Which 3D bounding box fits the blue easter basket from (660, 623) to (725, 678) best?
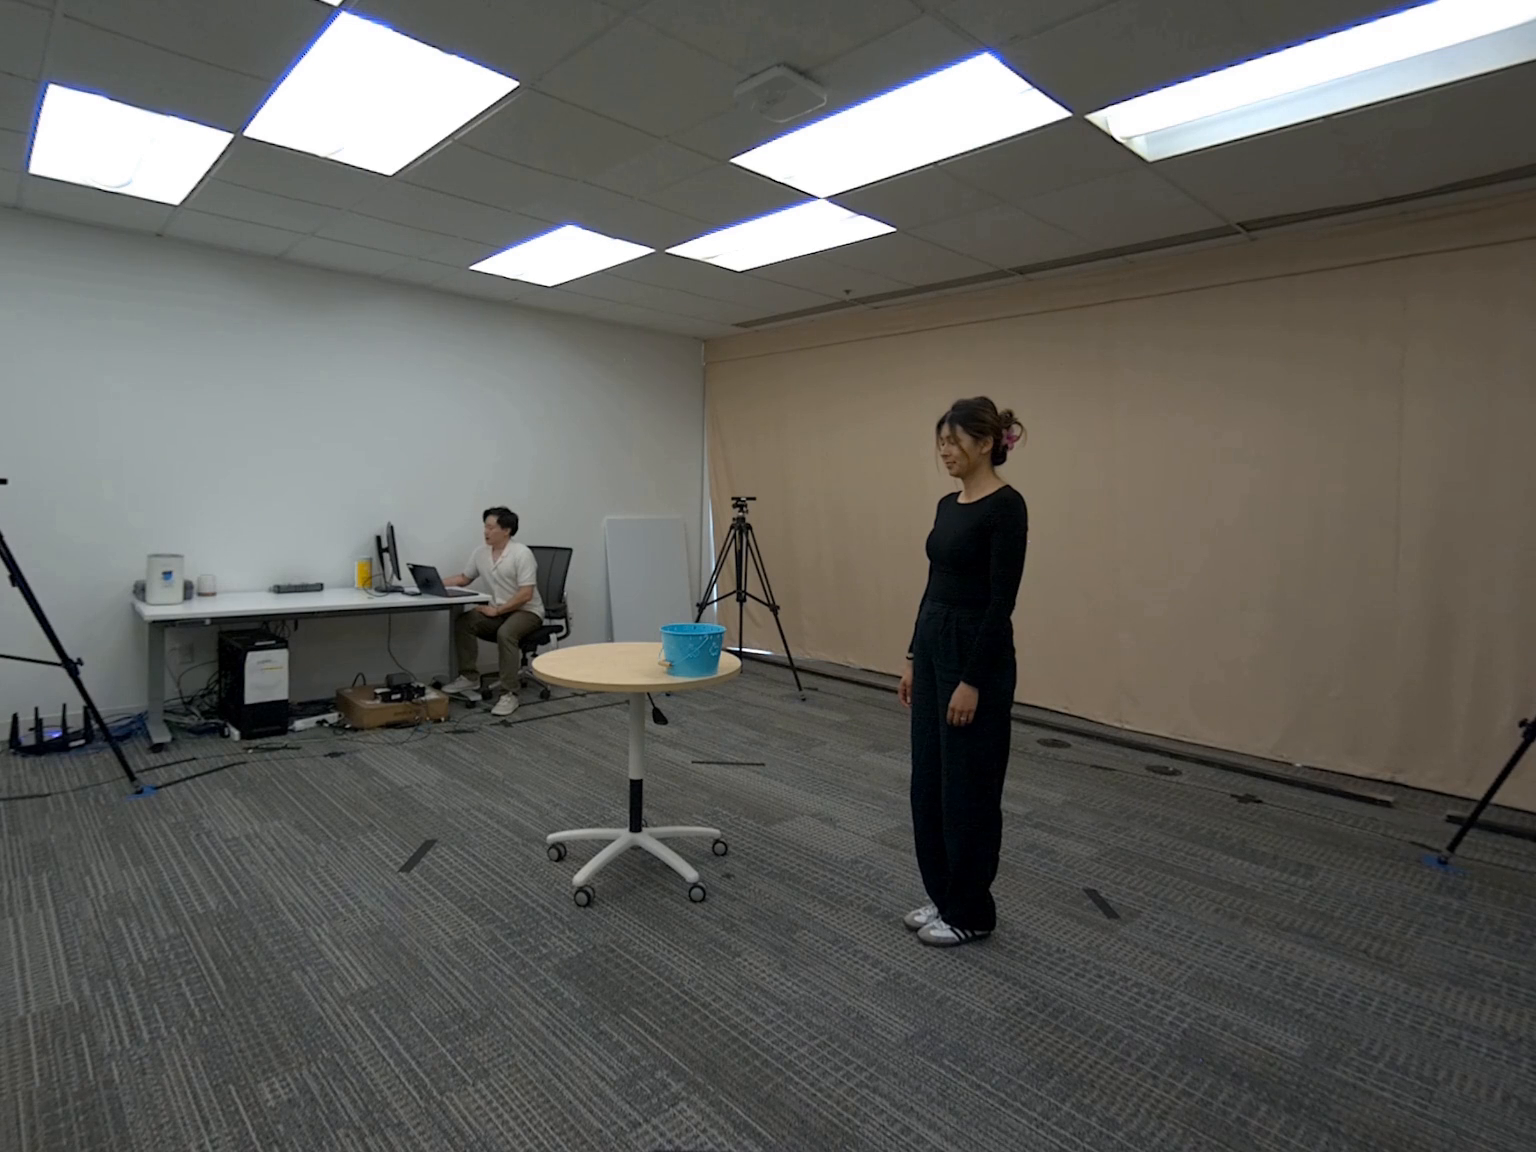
[{"bbox_3d":[-0.270,0.264,2.946,0.243,0.155,0.244,3,4,-2],"label":"blue easter basket"}]
